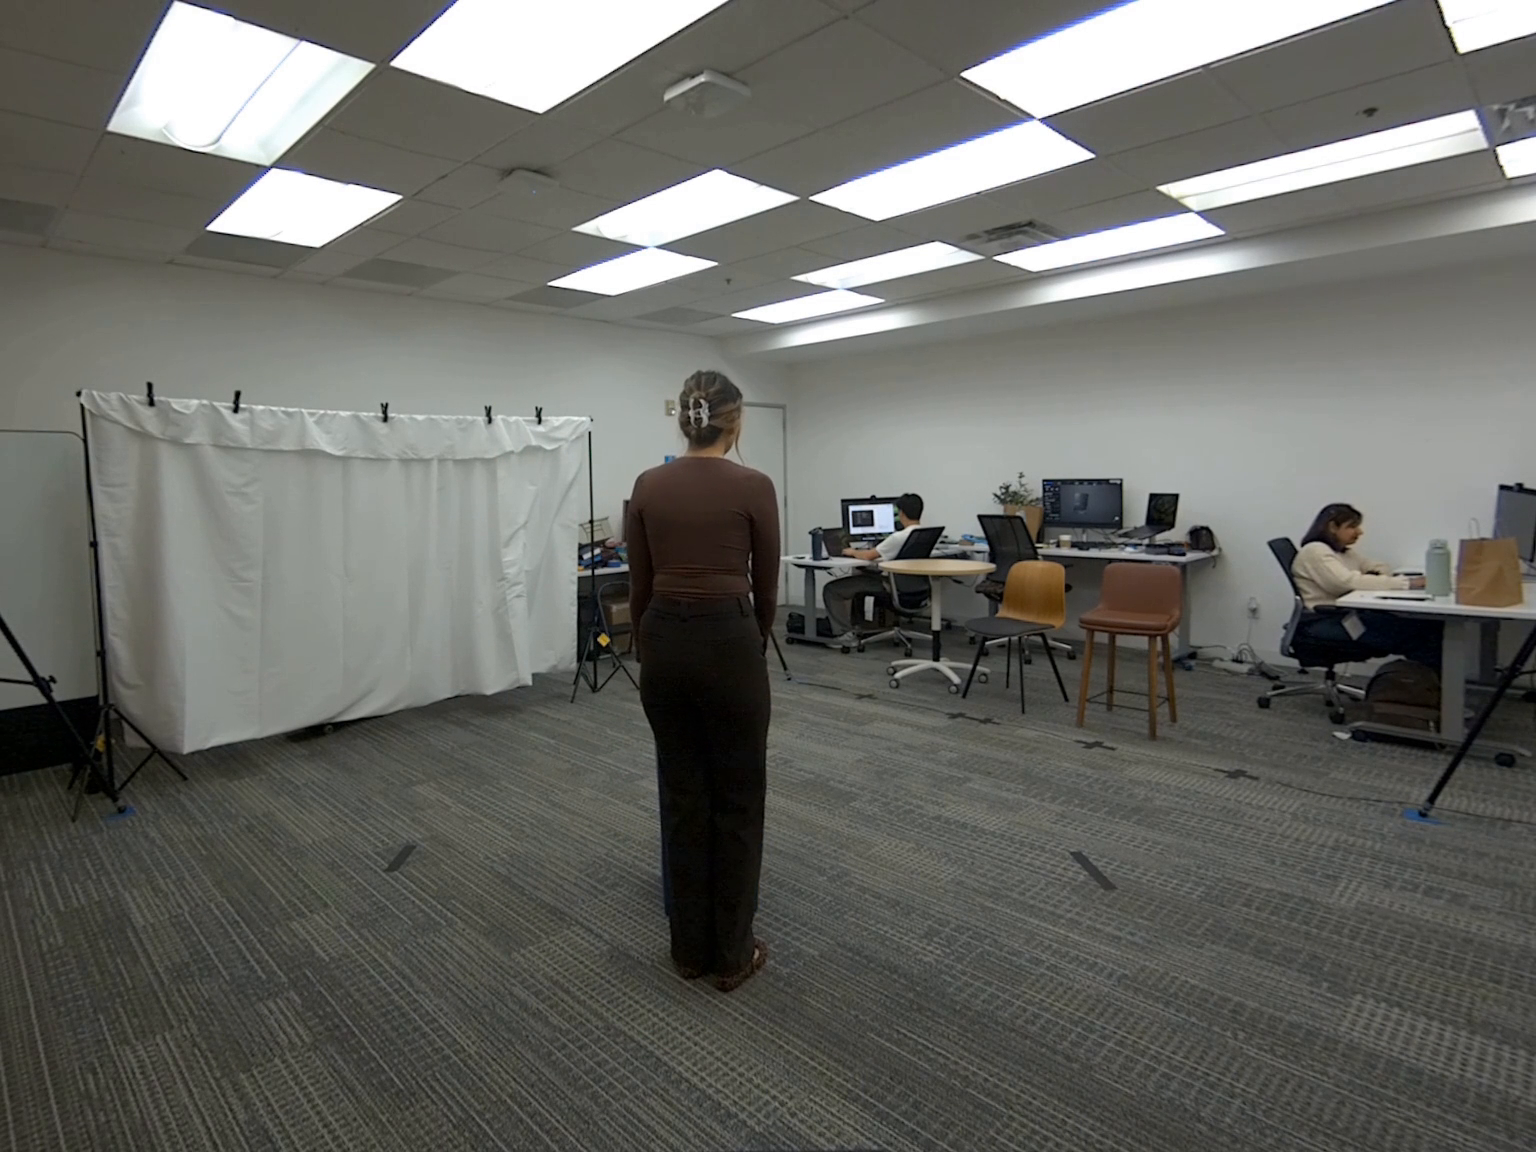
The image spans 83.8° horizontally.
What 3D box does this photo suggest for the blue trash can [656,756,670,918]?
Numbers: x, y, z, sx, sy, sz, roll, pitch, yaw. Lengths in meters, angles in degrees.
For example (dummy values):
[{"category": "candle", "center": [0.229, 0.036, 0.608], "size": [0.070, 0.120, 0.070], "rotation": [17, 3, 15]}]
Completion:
[{"category": "blue trash can", "center": [-0.191, 0.715, 2.872], "size": [0.372, 0.711, 0.382], "rotation": [-2, 4, -6]}]
